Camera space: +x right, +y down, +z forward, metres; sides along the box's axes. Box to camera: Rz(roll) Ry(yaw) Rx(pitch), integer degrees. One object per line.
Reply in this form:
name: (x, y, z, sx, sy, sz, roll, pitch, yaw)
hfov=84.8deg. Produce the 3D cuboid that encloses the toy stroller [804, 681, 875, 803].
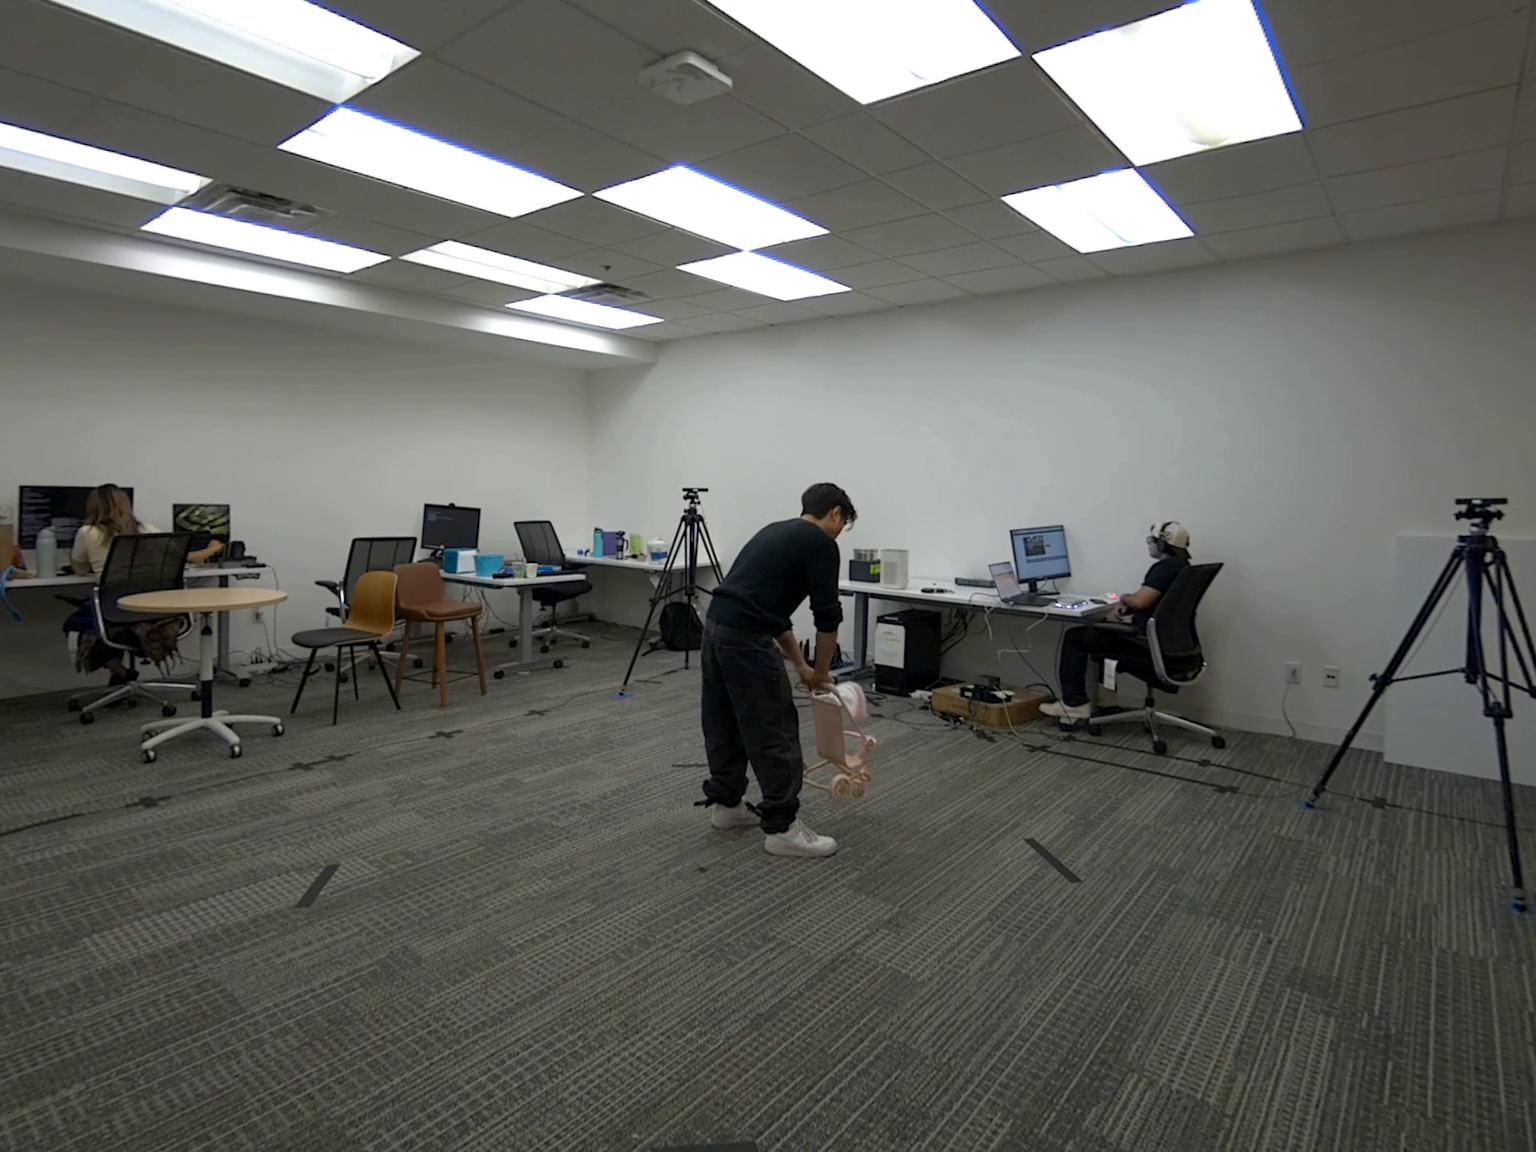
toy stroller: (0.294, 0.684, 3.567, 0.331, 0.534, 0.290, 1, 2, -35)
